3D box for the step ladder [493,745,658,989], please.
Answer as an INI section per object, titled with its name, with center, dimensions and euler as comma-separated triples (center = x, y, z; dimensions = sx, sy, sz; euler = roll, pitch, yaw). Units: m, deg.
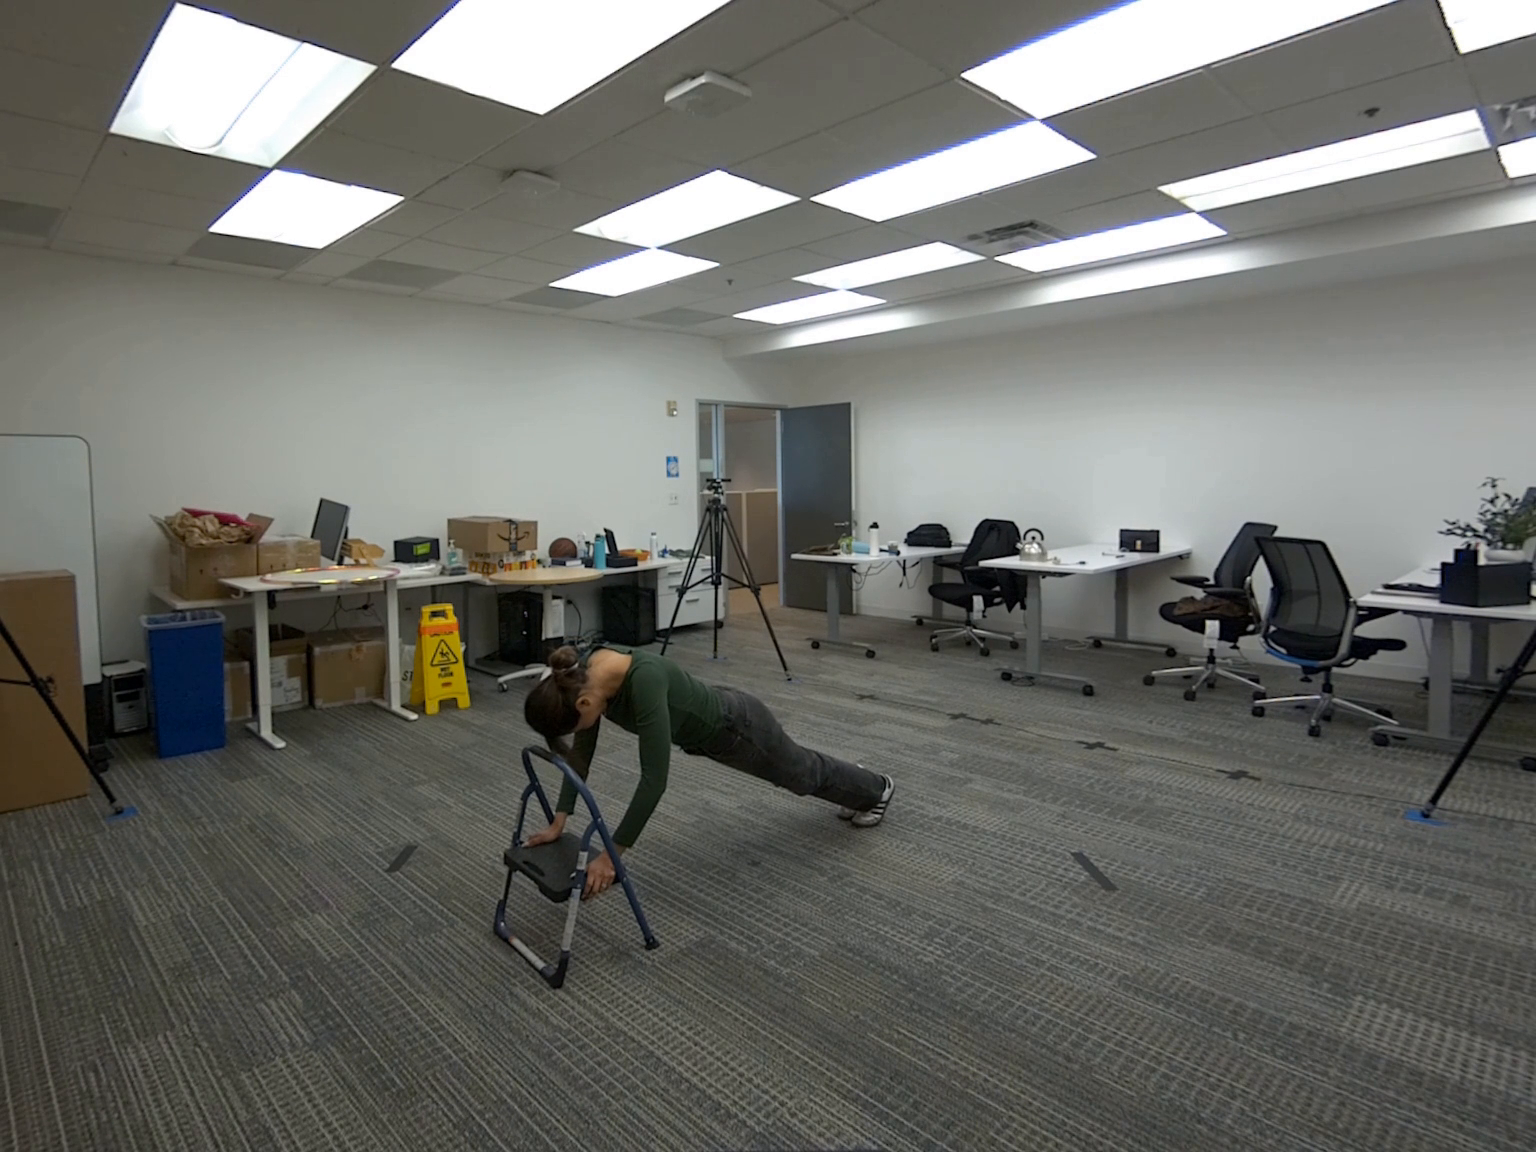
[step ladder]
center = -0.599, 0.814, 2.603
dimensions = 0.340, 0.604, 0.444
euler = -5, 6, -41
